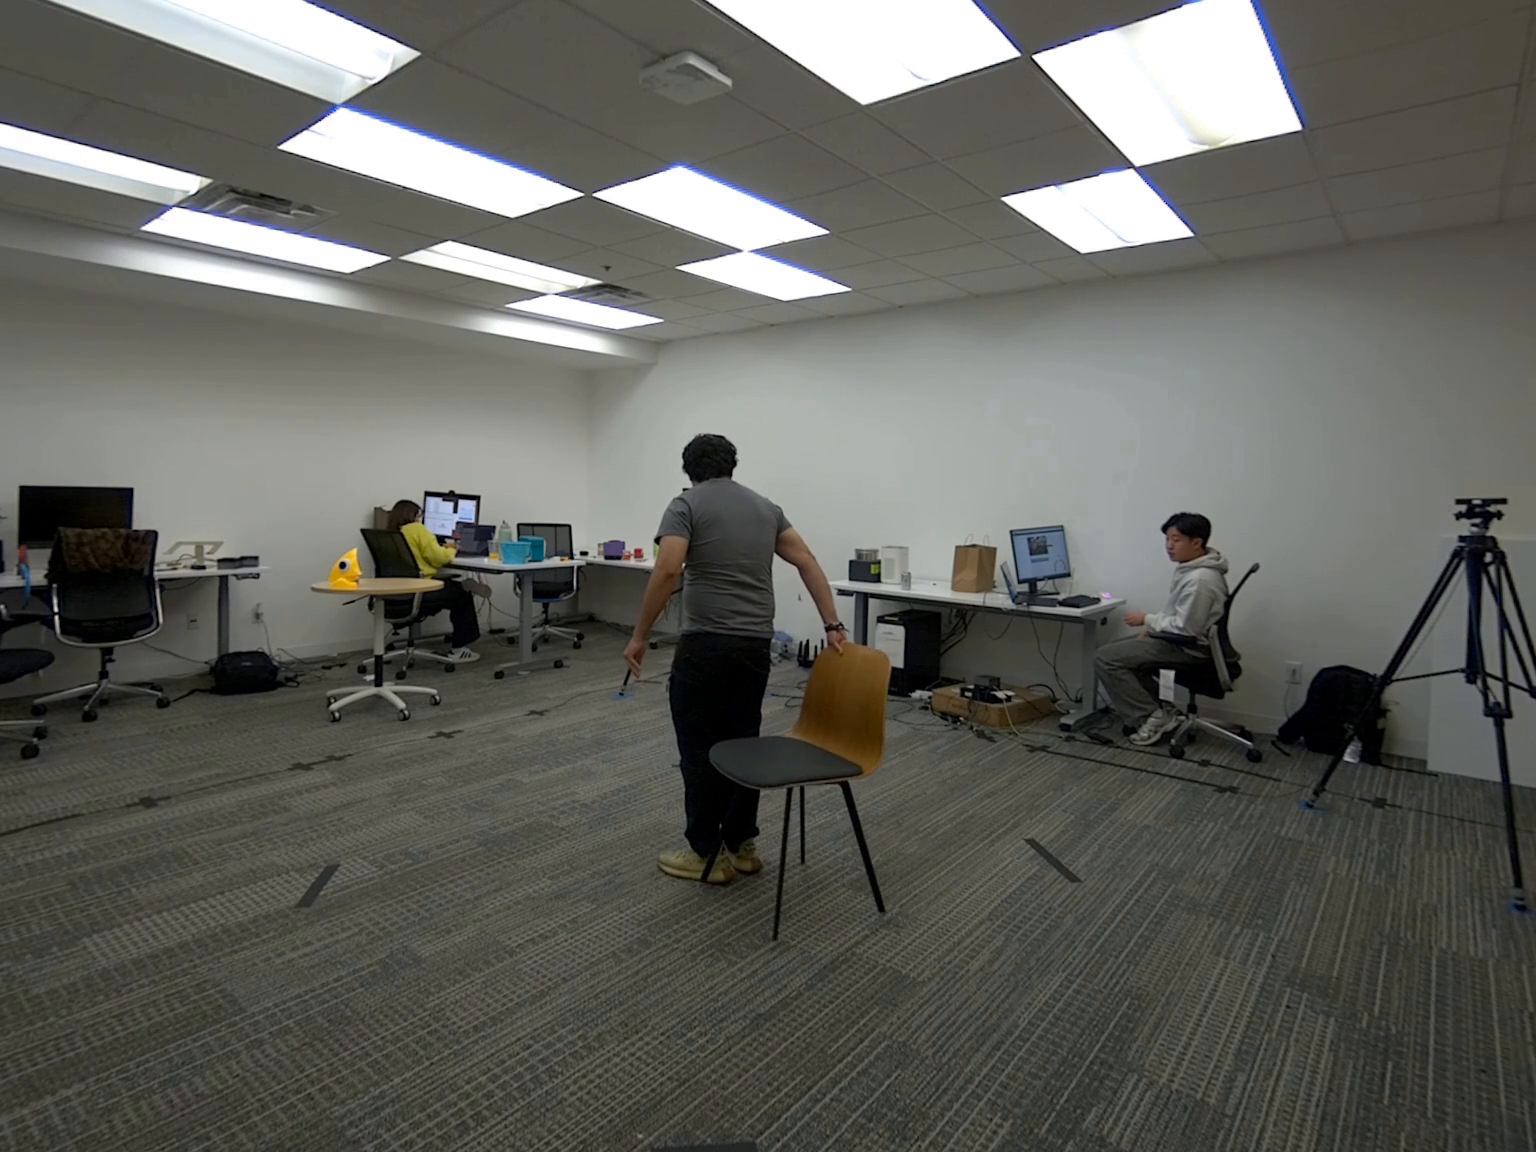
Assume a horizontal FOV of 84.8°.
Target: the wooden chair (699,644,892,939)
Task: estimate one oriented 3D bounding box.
[{"bbox_3d":[0.093,0.662,2.873,0.506,0.878,0.493,7,-1,-34],"label":"wooden chair"}]
